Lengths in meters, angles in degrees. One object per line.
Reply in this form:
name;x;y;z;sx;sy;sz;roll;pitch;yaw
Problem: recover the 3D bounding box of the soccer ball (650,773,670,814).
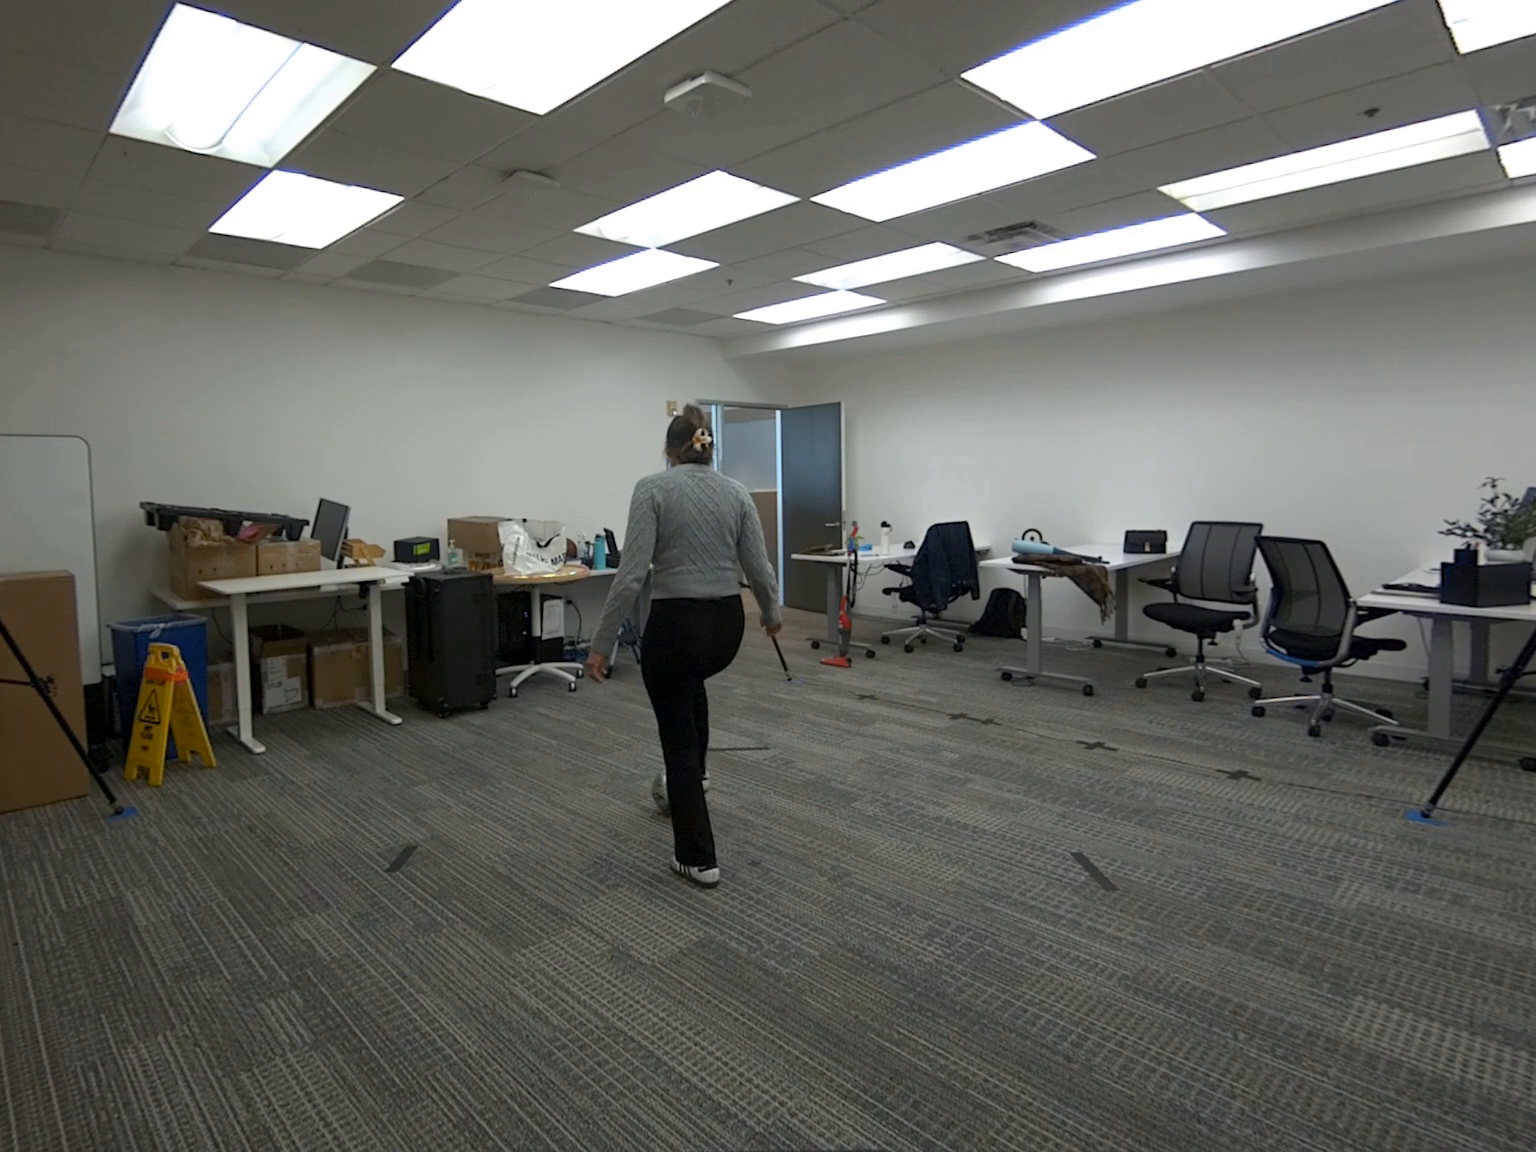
soccer ball;-0.387;0.906;3.578;0.187;0.187;0.188;-1;5;-2
